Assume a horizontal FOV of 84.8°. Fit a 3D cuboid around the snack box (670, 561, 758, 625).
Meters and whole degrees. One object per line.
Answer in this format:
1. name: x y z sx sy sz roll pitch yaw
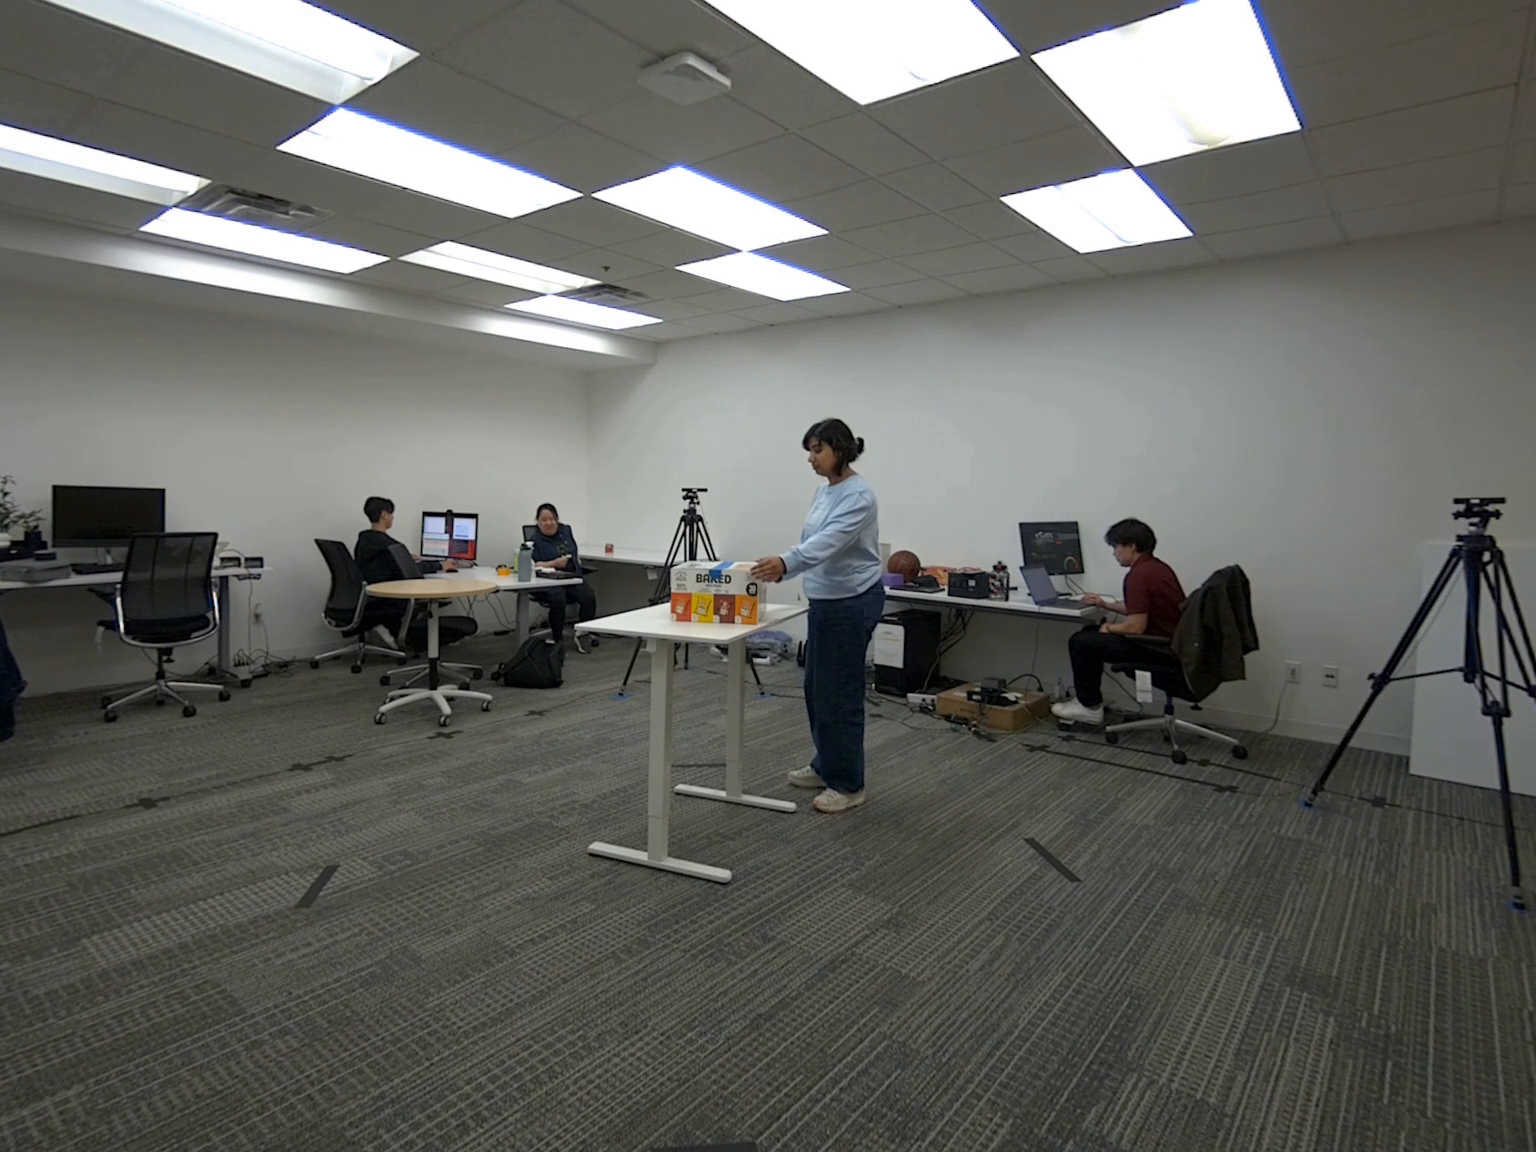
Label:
1. snack box: -0.198 0.055 3.422 0.343 0.205 0.403 3 4 7
